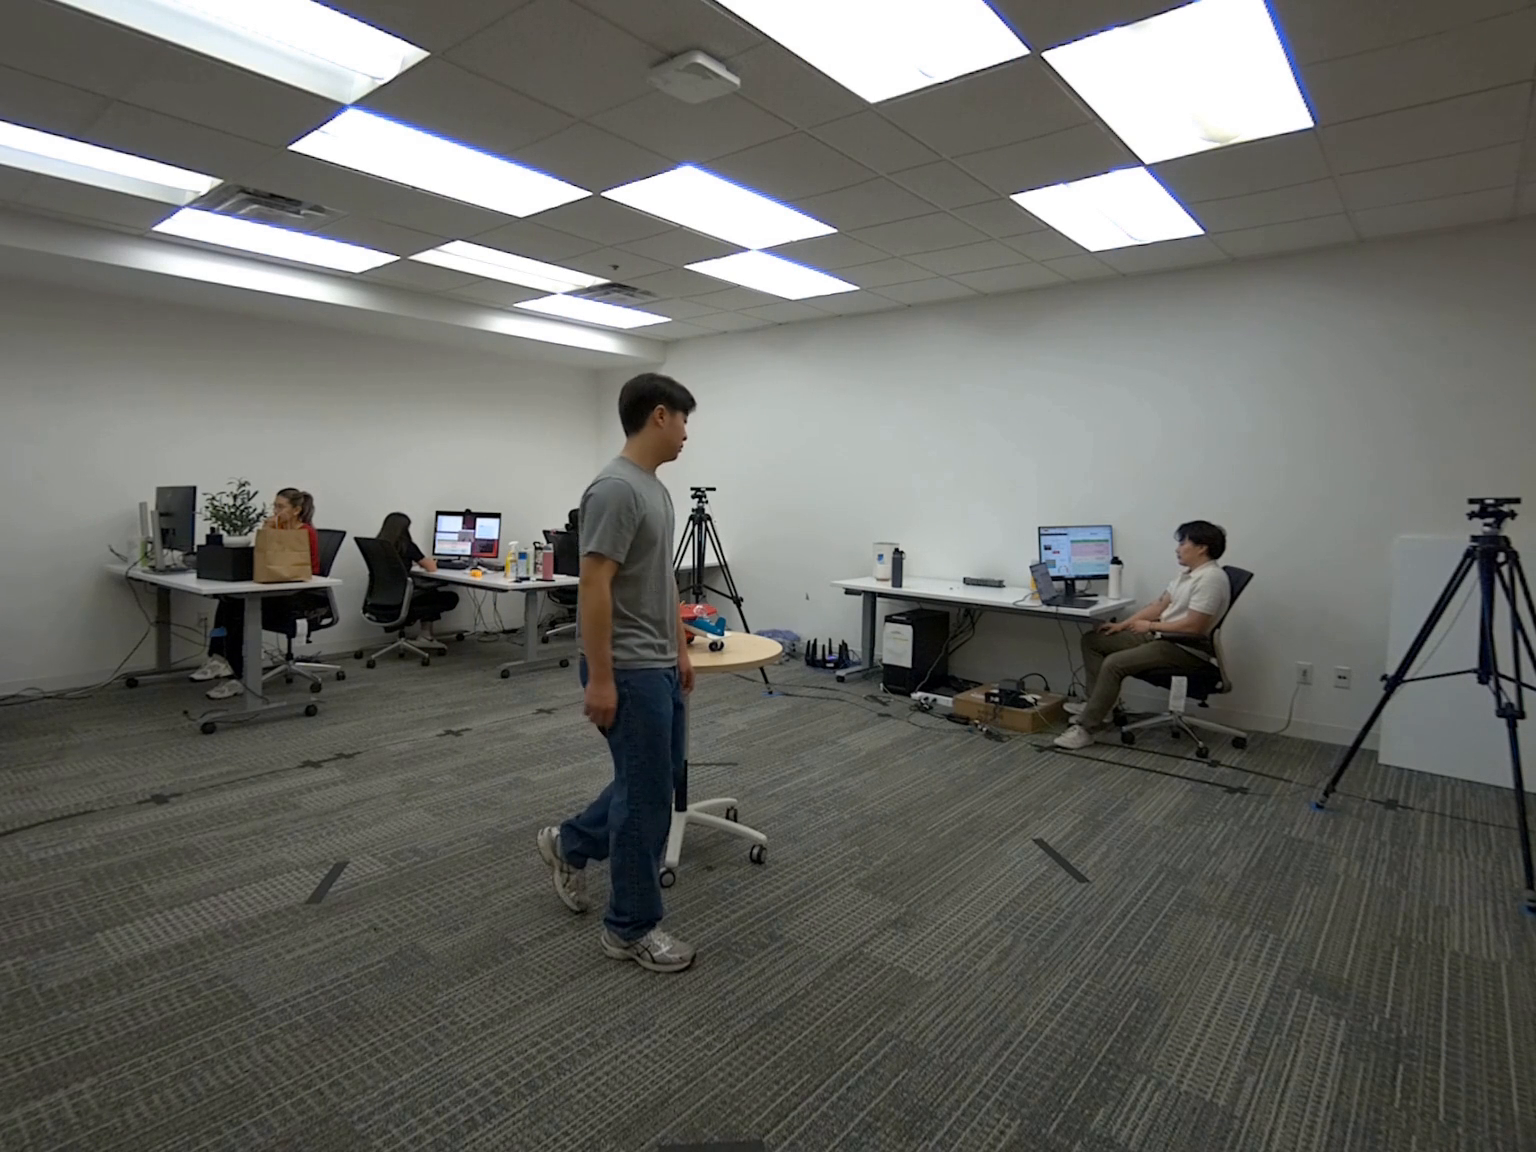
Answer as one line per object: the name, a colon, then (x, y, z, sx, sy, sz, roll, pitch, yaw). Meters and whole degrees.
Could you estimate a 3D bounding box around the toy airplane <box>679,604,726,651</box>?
toy airplane: (-0.270, 0.190, 3.237, 0.262, 0.156, 0.250, 0, 6, 8)
